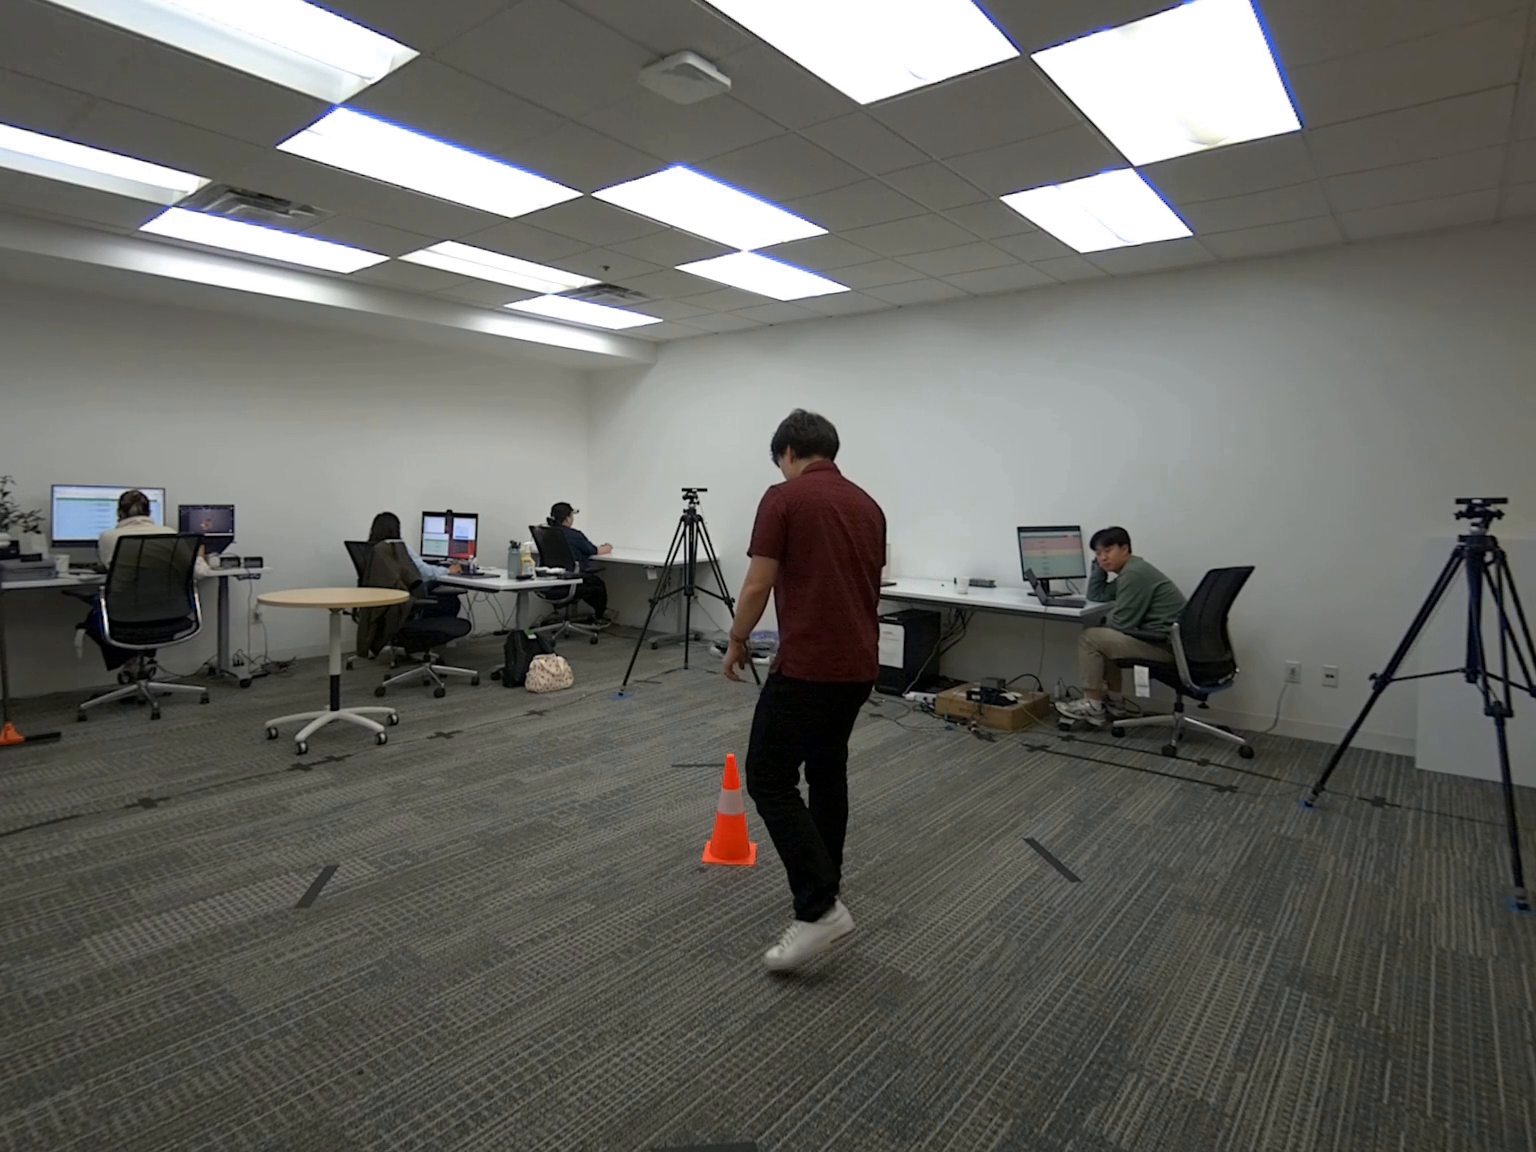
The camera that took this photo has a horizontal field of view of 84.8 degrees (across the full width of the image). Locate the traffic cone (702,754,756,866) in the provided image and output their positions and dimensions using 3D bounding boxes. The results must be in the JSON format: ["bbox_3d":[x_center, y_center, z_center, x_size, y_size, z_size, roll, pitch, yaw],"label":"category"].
[{"bbox_3d":[-0.148,0.867,3.250,0.205,0.383,0.204,2,3,6],"label":"traffic cone"}]
